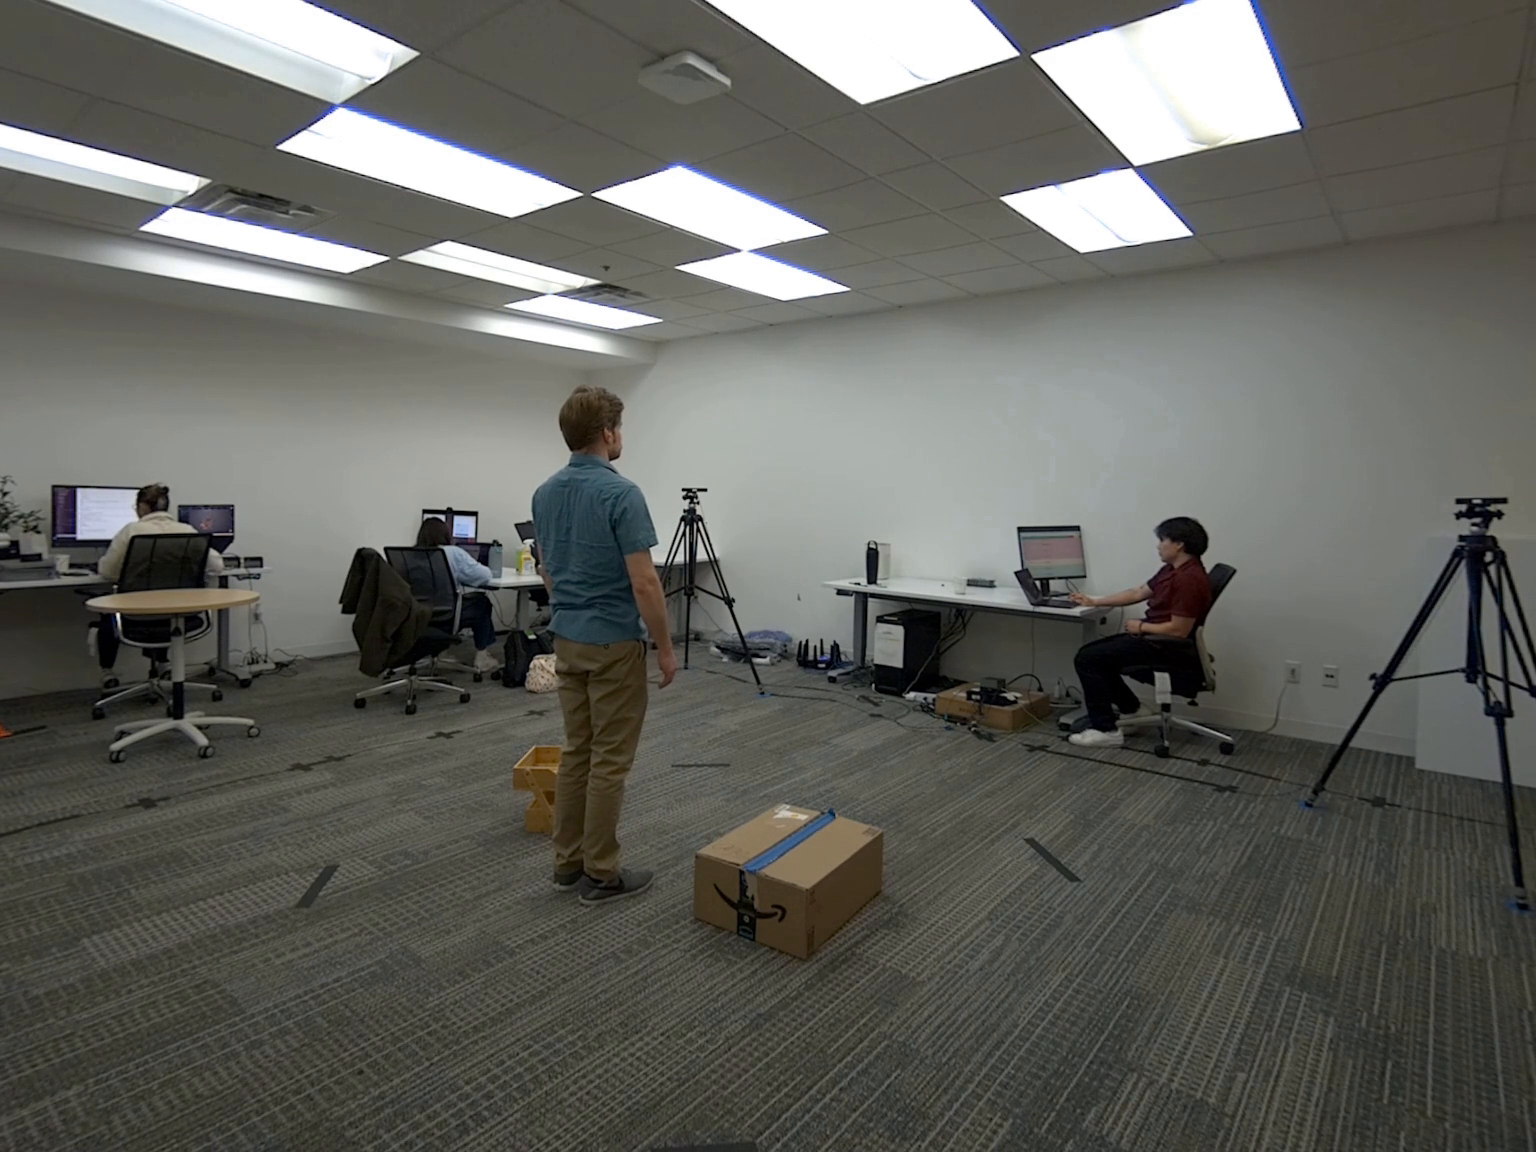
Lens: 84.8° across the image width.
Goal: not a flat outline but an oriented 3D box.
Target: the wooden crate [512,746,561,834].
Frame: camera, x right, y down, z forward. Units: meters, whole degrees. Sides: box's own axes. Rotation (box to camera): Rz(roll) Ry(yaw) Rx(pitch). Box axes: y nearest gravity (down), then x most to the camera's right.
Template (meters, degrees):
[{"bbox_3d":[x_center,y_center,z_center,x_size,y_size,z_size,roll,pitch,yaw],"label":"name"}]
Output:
[{"bbox_3d":[-0.885,0.880,3.565,0.303,0.272,0.325,1,4,1],"label":"wooden crate"}]
